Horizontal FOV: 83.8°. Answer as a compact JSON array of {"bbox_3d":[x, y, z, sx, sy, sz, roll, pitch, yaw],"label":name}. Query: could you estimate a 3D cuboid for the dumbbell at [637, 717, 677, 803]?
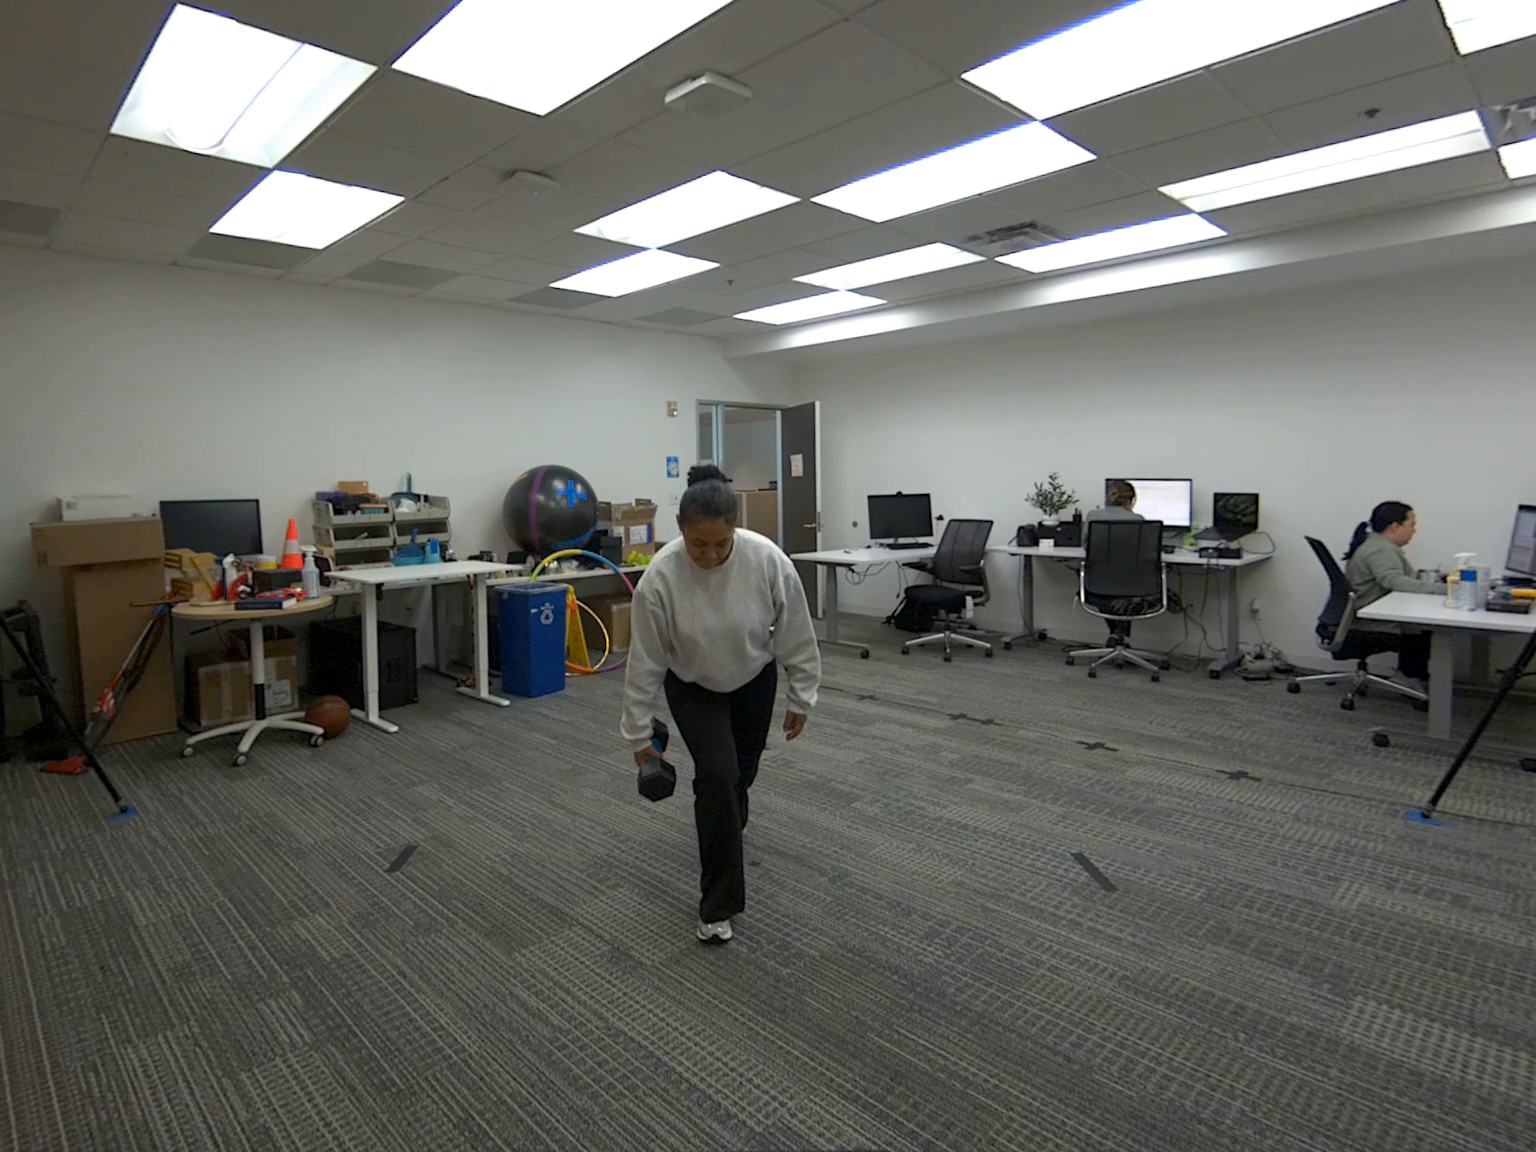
[{"bbox_3d":[-0.355,0.573,2.674,0.107,0.121,0.301,10,21,-14],"label":"dumbbell"}]
